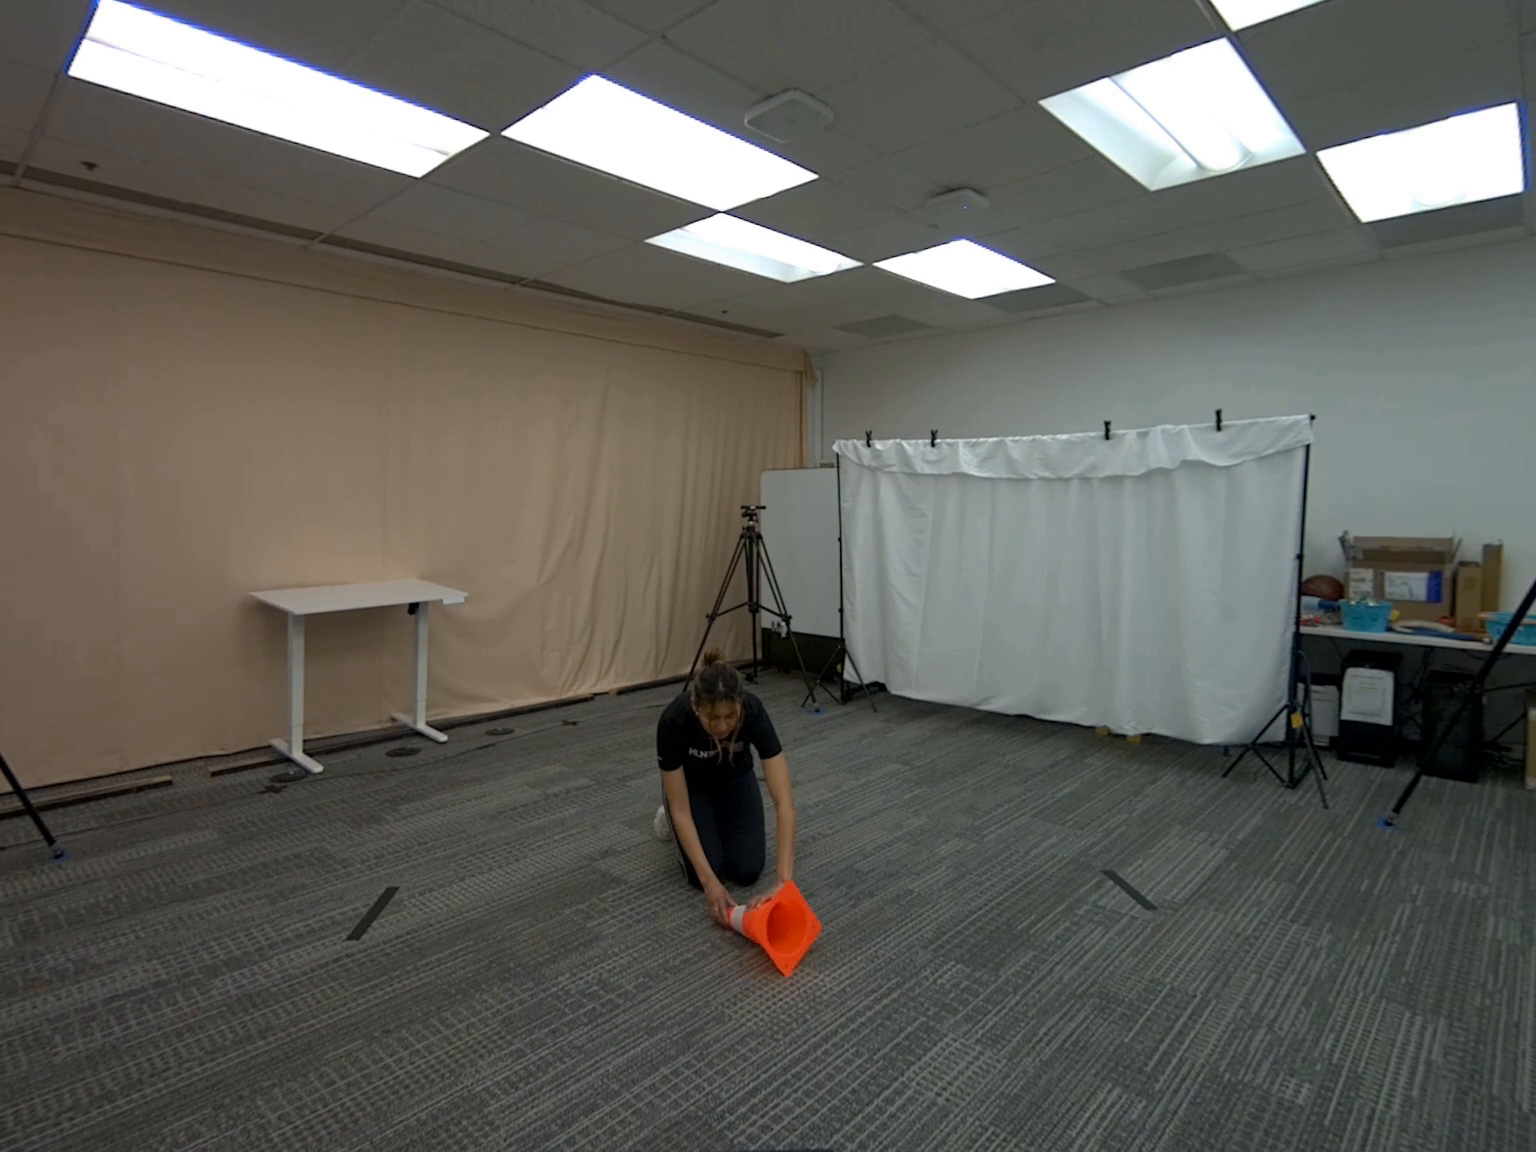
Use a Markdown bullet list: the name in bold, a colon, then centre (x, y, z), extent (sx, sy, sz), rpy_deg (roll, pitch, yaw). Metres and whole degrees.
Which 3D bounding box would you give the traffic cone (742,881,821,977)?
- **traffic cone**: centre (-0.050, 1.106, 2.687), extent (0.200, 0.203, 0.392), rpy_deg (-38, 11, -39)
